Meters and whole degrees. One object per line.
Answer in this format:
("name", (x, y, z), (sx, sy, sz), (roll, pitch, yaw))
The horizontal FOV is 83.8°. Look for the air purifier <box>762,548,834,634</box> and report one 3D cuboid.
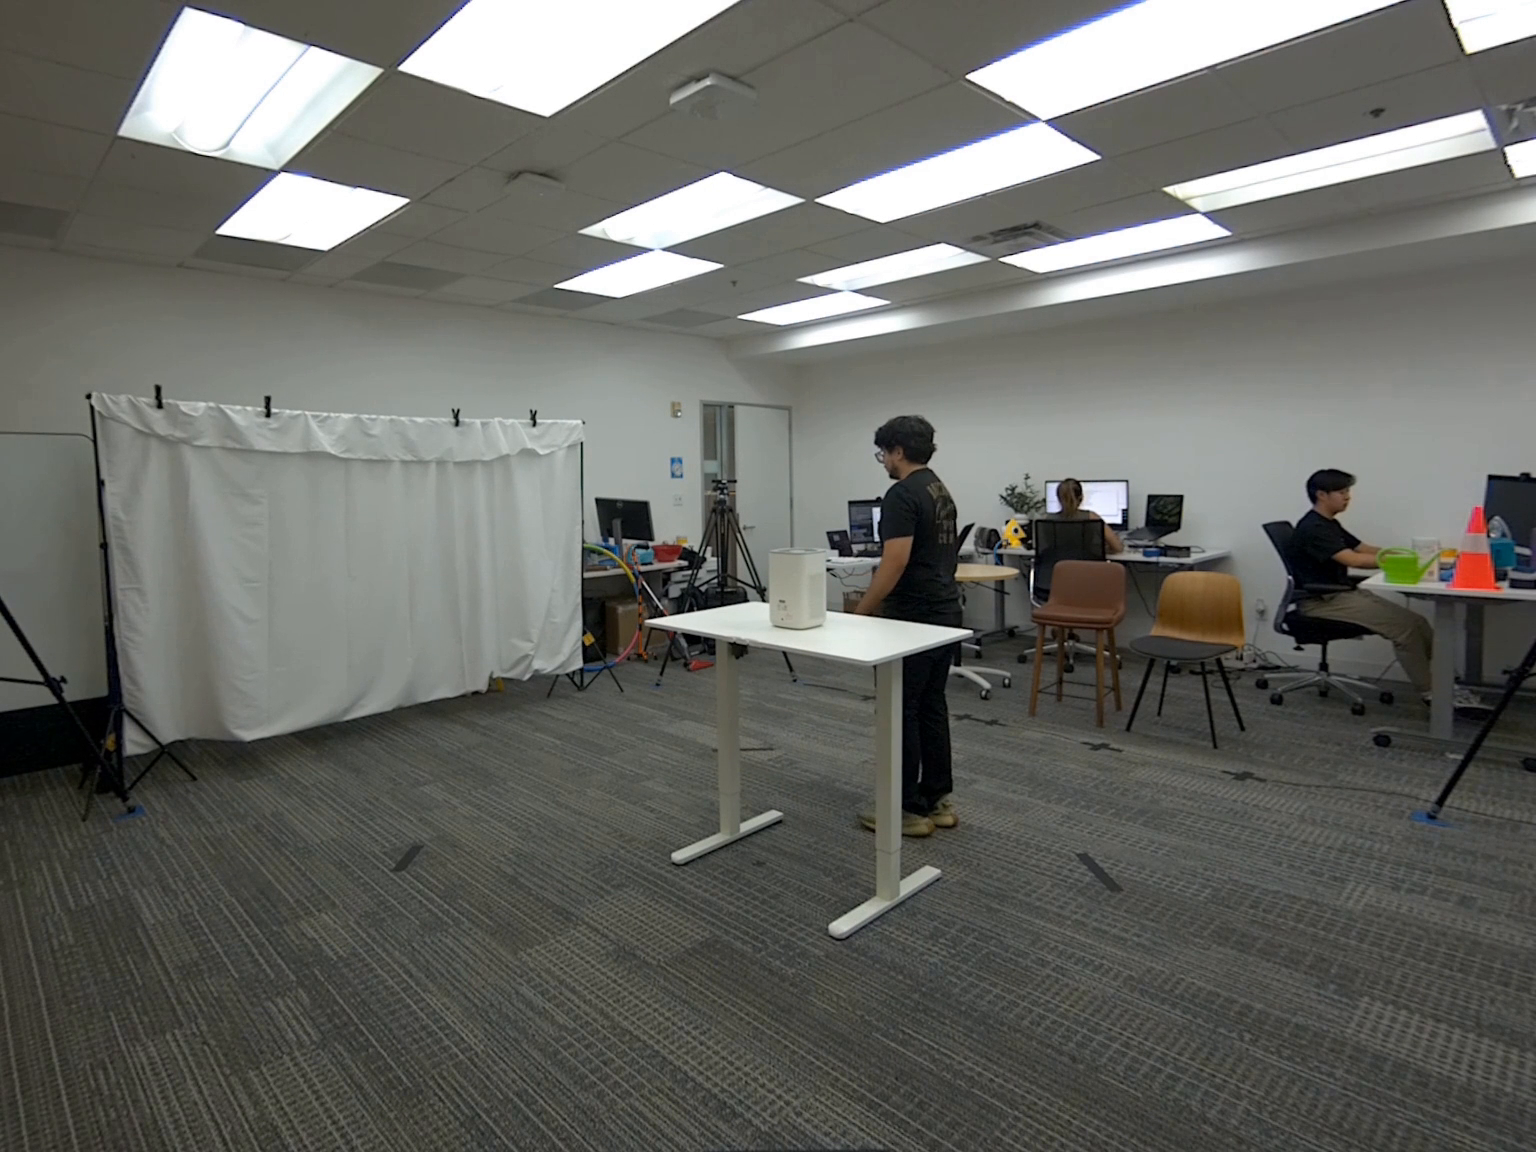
("air purifier", (0.103, 0.044, 2.985), (0.176, 0.264, 0.167), (3, 6, 44))
